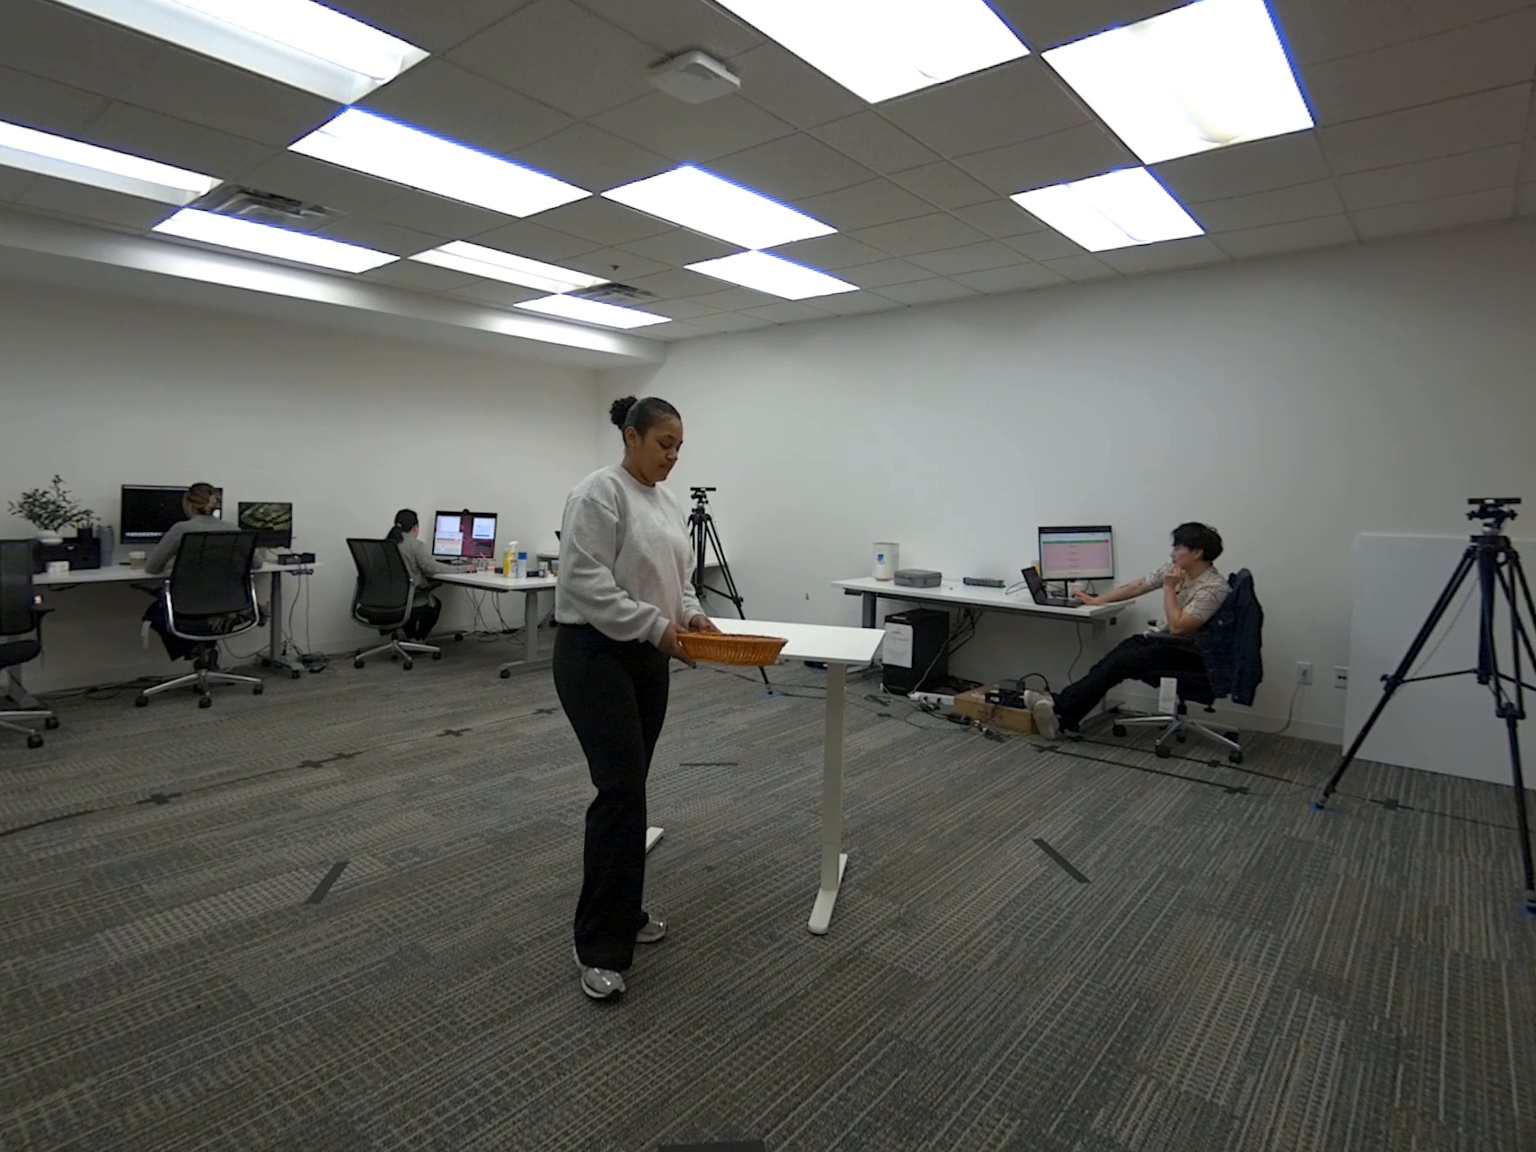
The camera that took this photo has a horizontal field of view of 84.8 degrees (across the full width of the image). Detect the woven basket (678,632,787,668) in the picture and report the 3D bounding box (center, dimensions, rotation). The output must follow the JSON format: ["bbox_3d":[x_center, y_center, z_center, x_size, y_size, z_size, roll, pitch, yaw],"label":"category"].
[{"bbox_3d":[-0.103,0.208,2.315,0.245,0.073,0.361,2,0,-34],"label":"woven basket"}]
